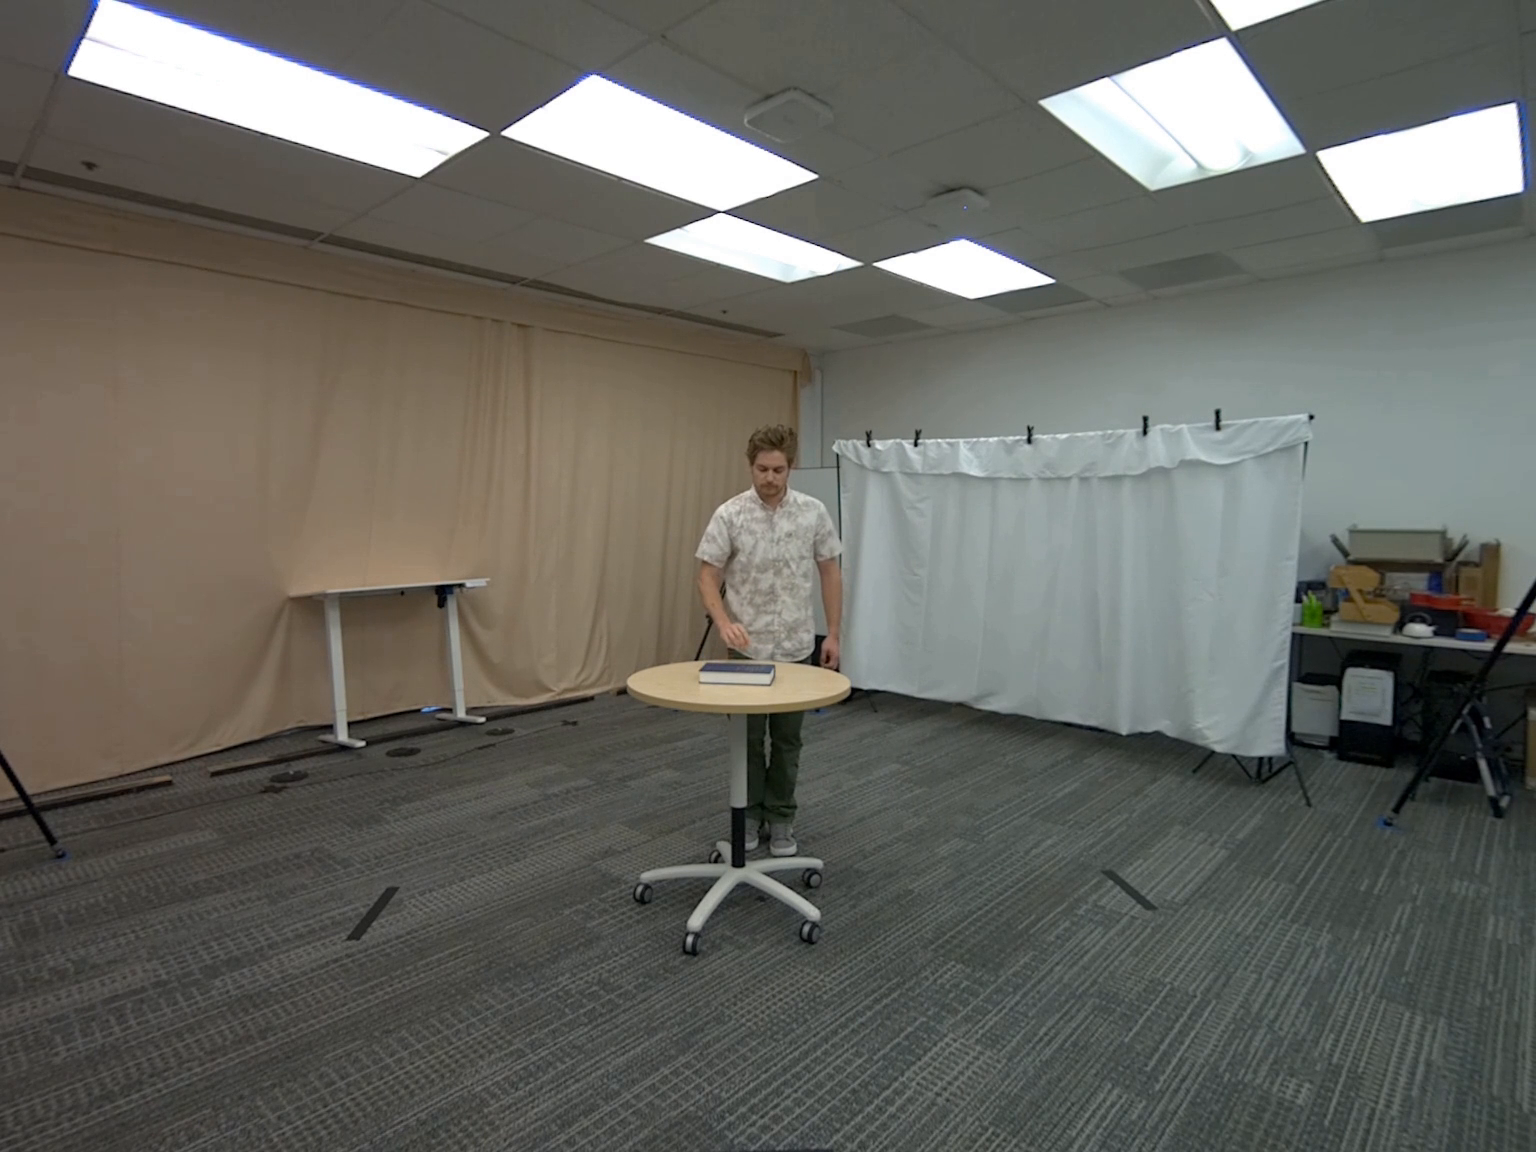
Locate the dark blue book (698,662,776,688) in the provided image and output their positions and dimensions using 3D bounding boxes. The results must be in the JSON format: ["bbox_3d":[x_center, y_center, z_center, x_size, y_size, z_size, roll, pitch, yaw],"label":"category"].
[{"bbox_3d":[-0.105,0.334,2.895,0.247,0.045,0.162,1,5,8],"label":"dark blue book"}]
